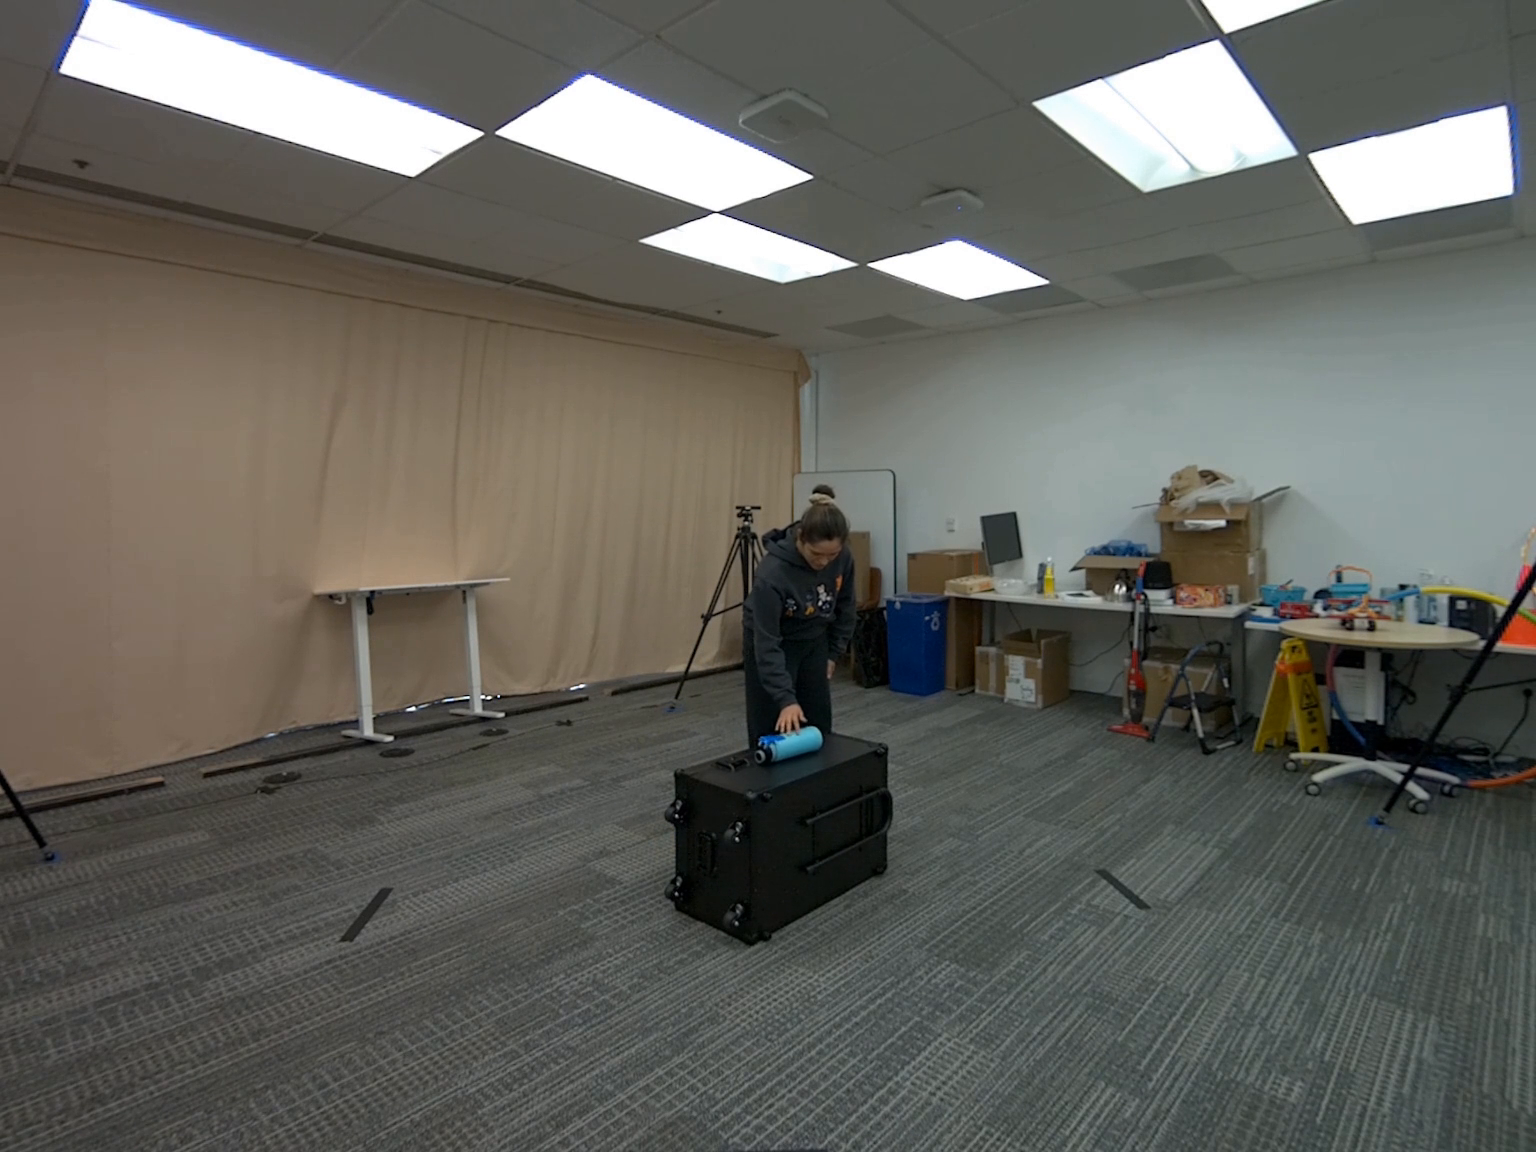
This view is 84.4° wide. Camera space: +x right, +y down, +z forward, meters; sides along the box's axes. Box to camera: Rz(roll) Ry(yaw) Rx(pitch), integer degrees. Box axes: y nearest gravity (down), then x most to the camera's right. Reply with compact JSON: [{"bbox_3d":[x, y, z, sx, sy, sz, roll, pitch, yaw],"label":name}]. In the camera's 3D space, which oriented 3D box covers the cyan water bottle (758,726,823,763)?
[{"bbox_3d":[0.084,0.601,3.039,0.275,0.092,0.095,-4,6,-41],"label":"cyan water bottle"}]
